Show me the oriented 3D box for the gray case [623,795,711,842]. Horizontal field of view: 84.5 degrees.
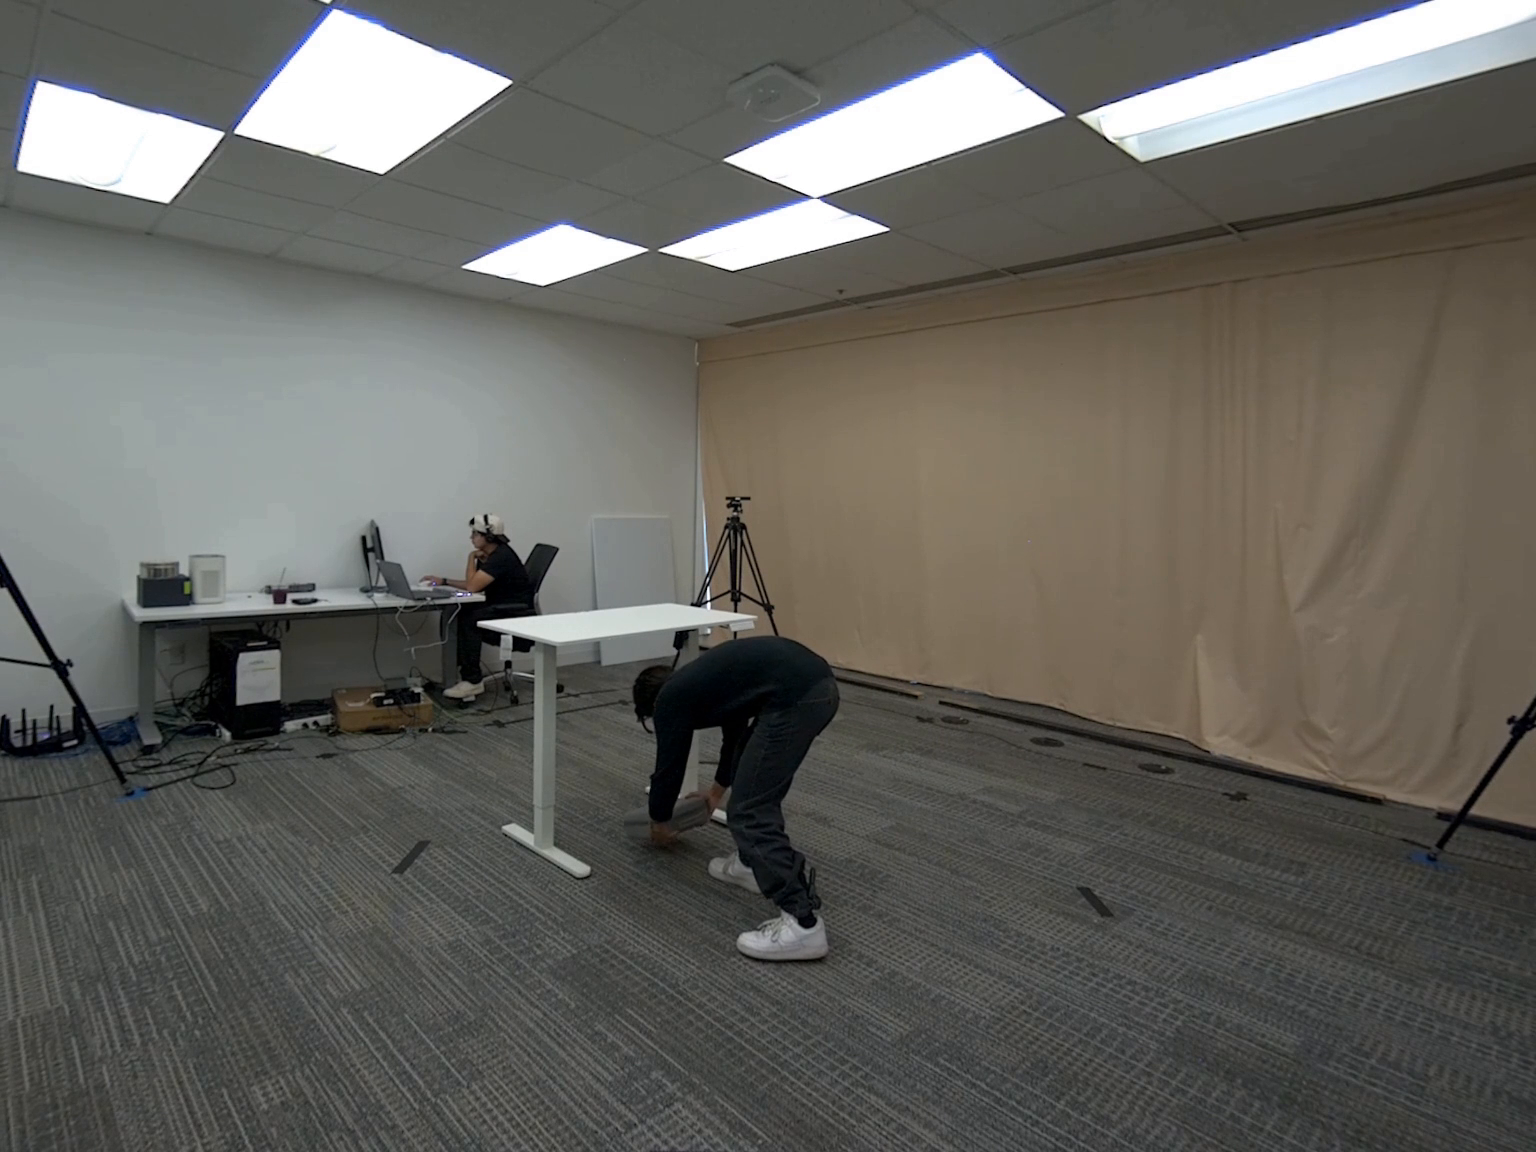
[{"bbox_3d":[-0.411,0.957,3.334,0.262,0.105,0.255,-9,-4,36],"label":"gray case"}]
